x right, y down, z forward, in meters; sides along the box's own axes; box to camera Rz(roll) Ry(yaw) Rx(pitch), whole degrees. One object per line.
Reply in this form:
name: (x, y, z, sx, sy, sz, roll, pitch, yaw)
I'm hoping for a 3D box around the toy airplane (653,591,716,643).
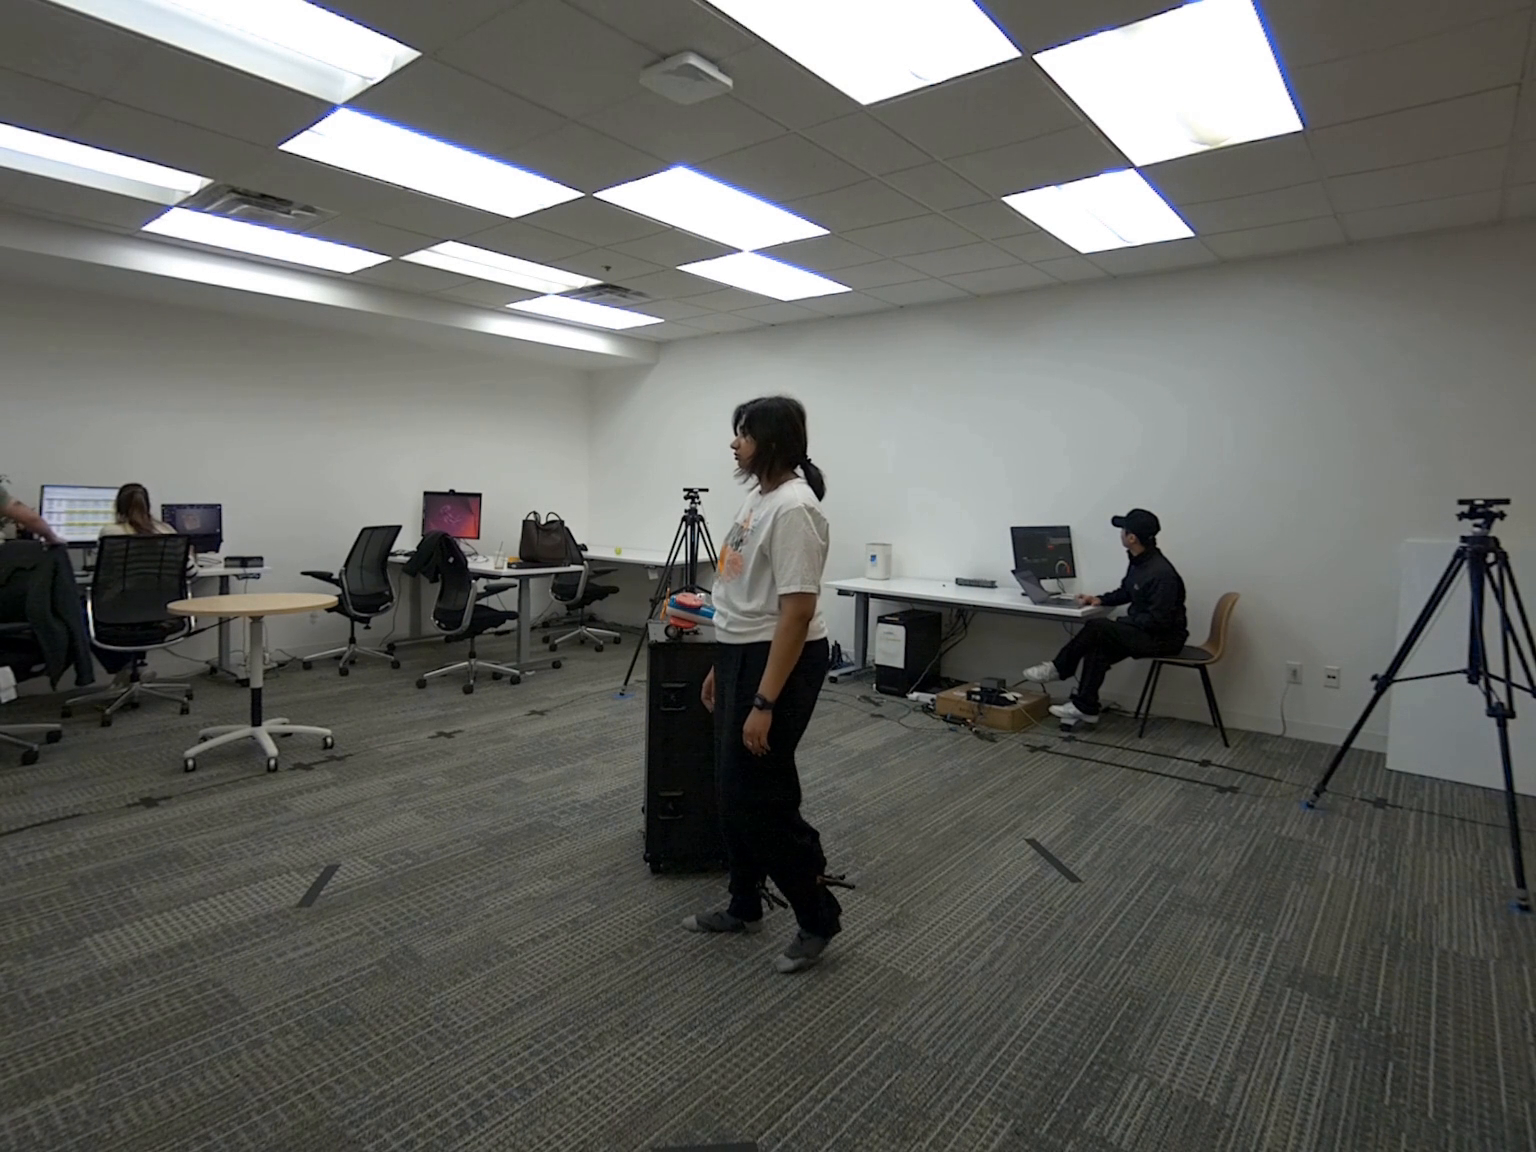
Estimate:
toy airplane: (-0.262, 0.143, 3.087, 0.254, 0.156, 0.257, 1, 3, -21)
